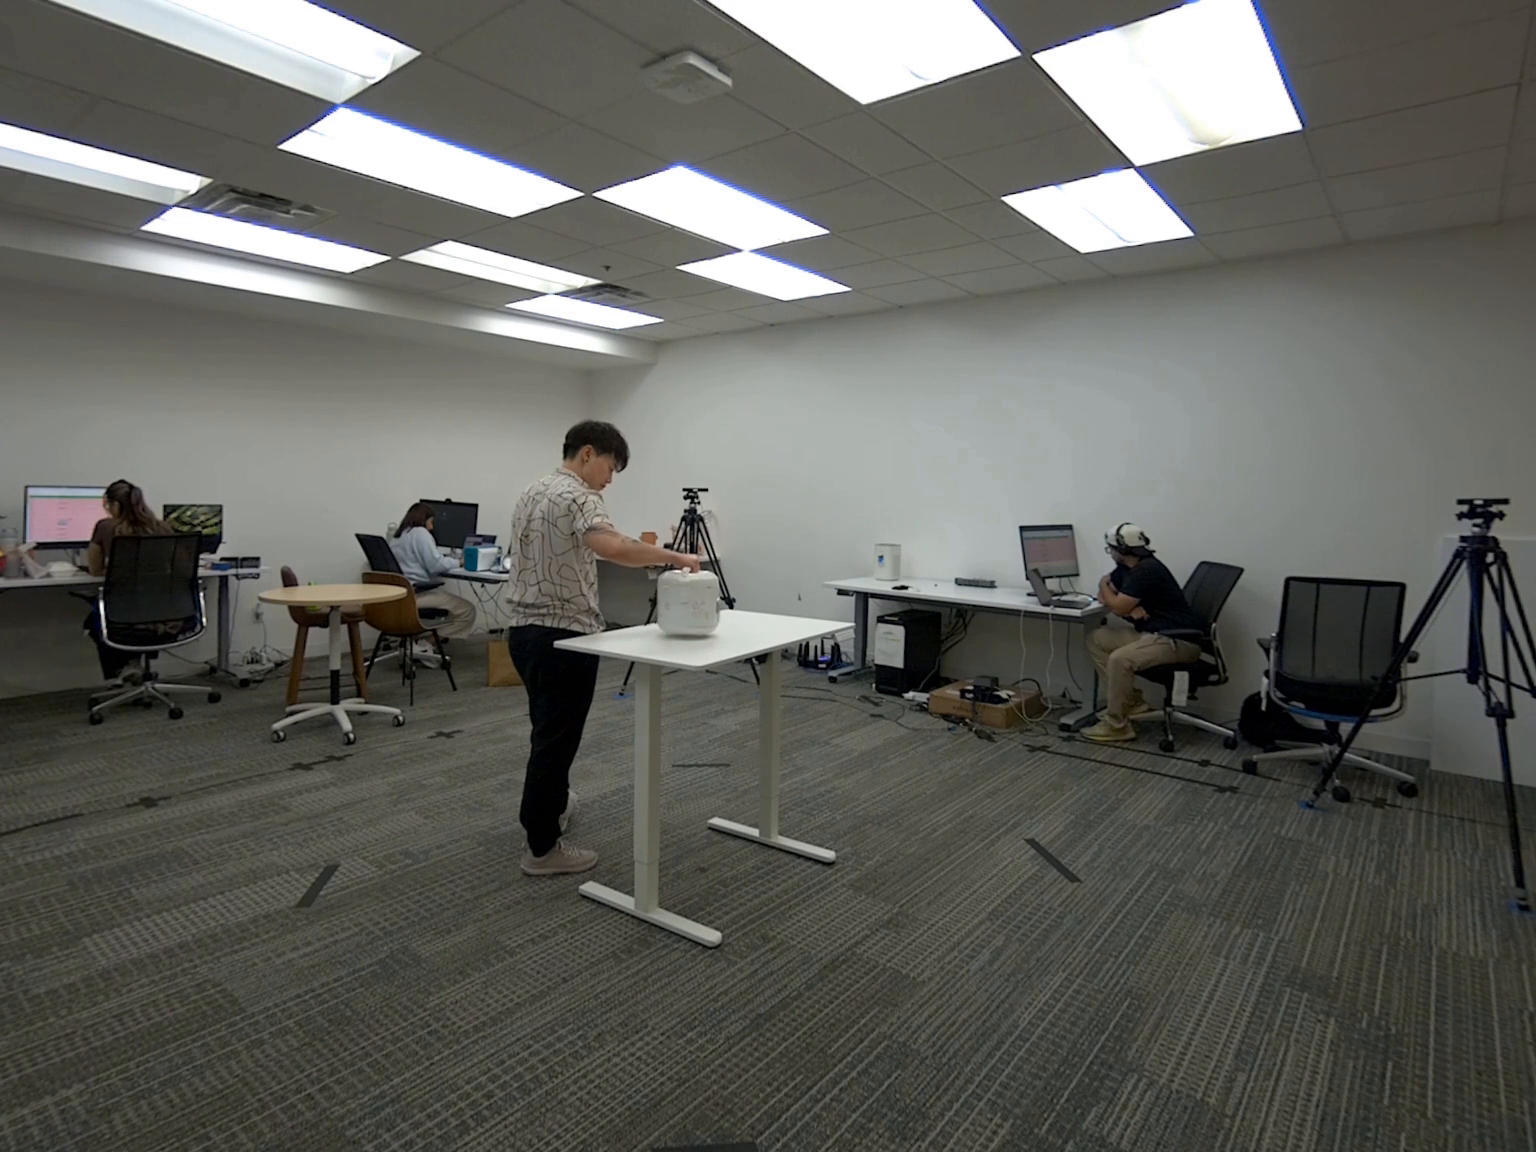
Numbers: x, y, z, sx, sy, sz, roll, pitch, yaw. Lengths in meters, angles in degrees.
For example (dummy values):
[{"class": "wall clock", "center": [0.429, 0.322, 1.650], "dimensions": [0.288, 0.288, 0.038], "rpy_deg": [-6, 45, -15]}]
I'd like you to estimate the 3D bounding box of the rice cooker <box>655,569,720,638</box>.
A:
[{"class": "rice cooker", "center": [-0.281, 0.071, 2.931], "dimensions": [0.219, 0.232, 0.220], "rpy_deg": [-1, 3, 6]}]
